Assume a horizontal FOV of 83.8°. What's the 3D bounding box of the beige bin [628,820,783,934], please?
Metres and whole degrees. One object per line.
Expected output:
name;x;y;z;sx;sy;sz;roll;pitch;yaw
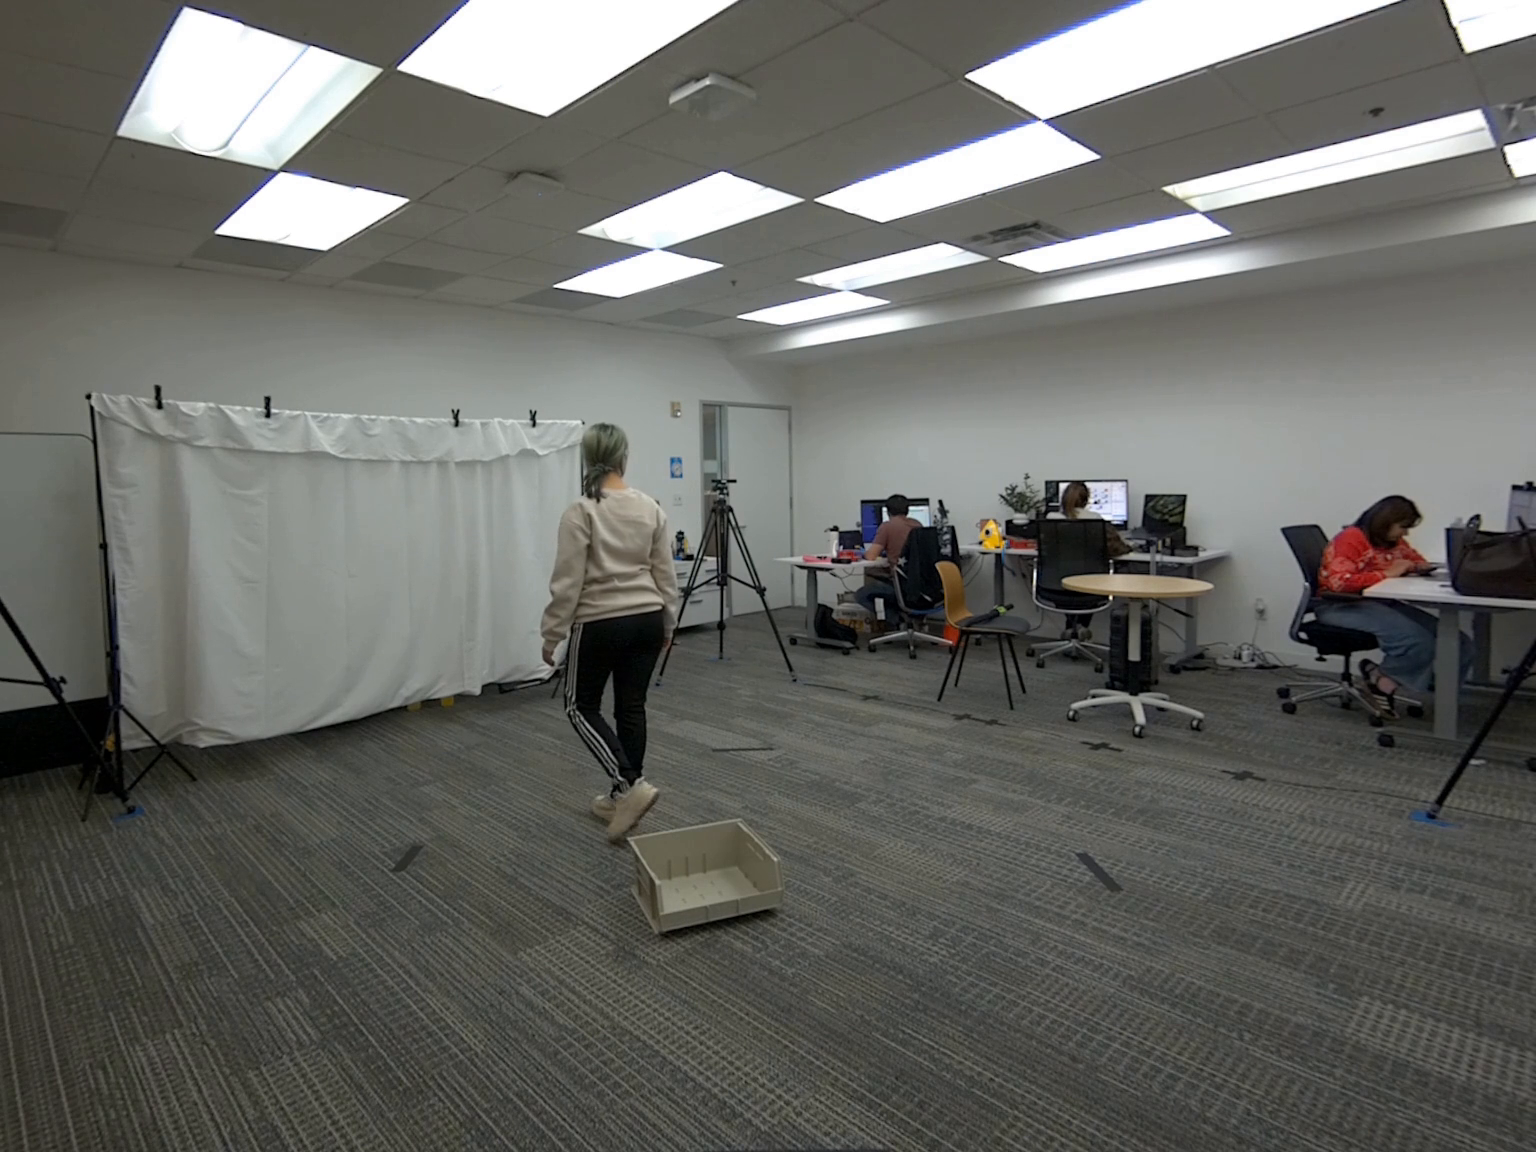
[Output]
beige bin;-0.209;0.993;2.824;0.414;0.188;0.386;-4;6;-22
